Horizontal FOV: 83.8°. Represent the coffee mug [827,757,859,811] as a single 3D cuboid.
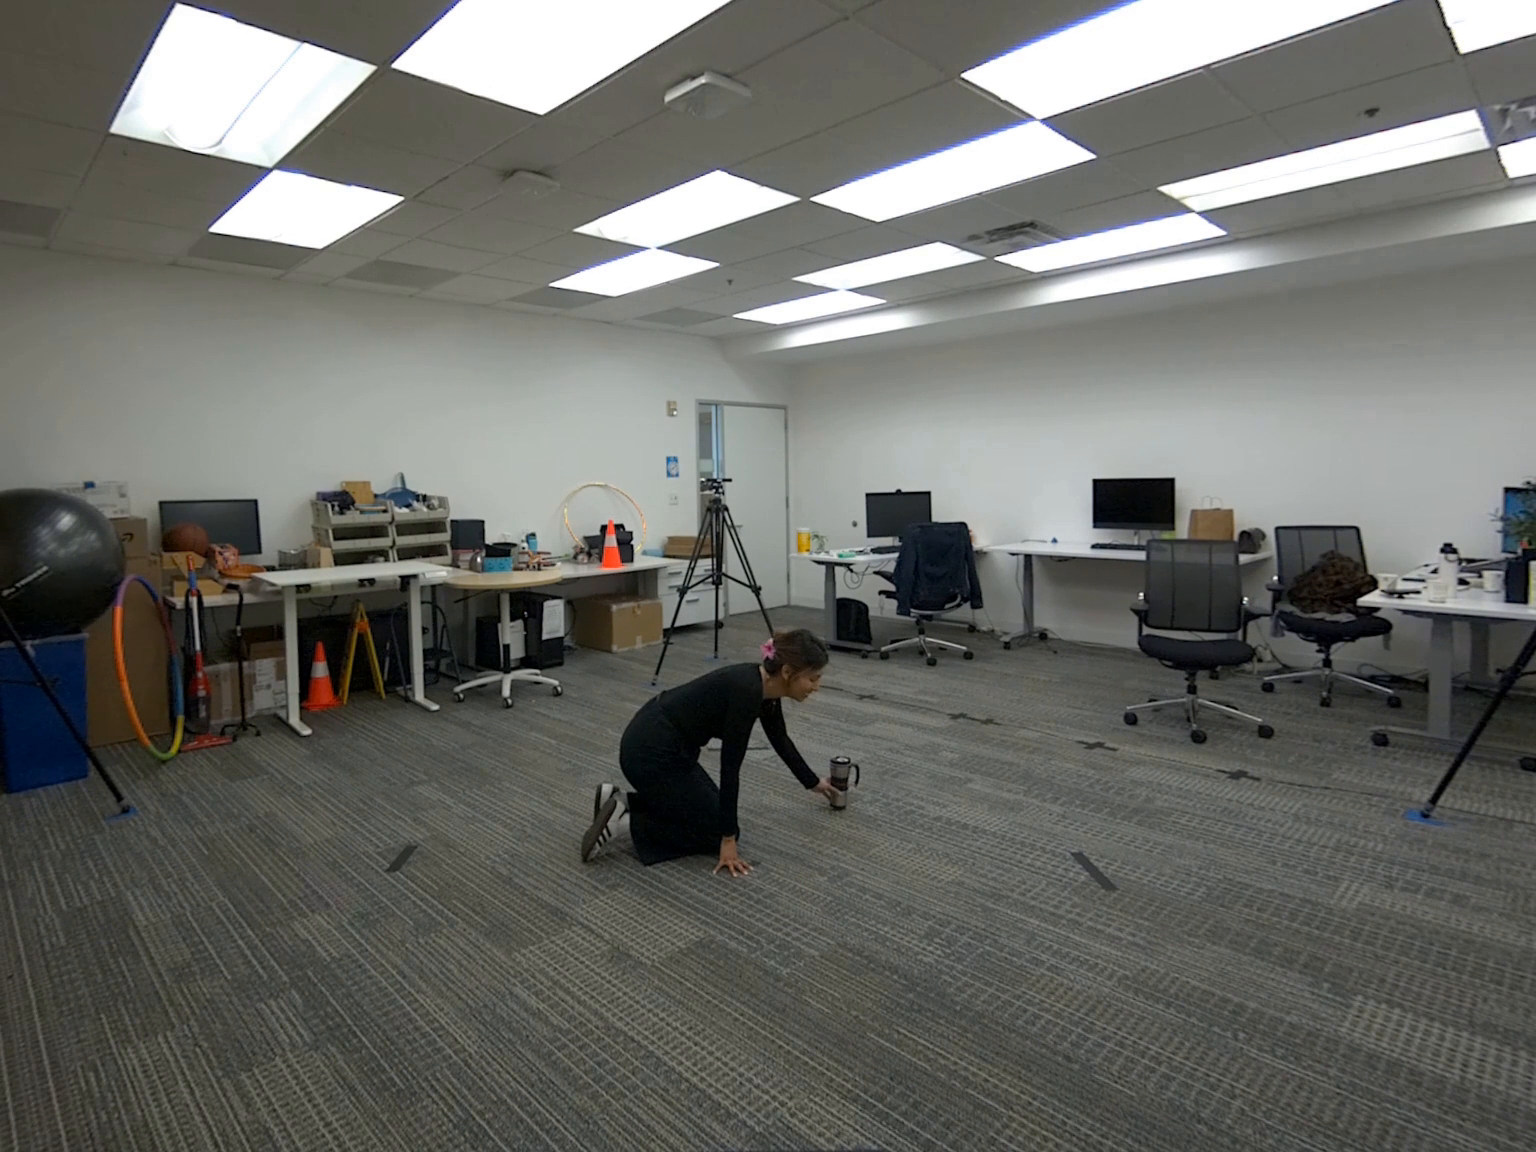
[{"bbox_3d":[0.328,0.871,3.568,0.125,0.203,0.086,2,1,26],"label":"coffee mug"}]
